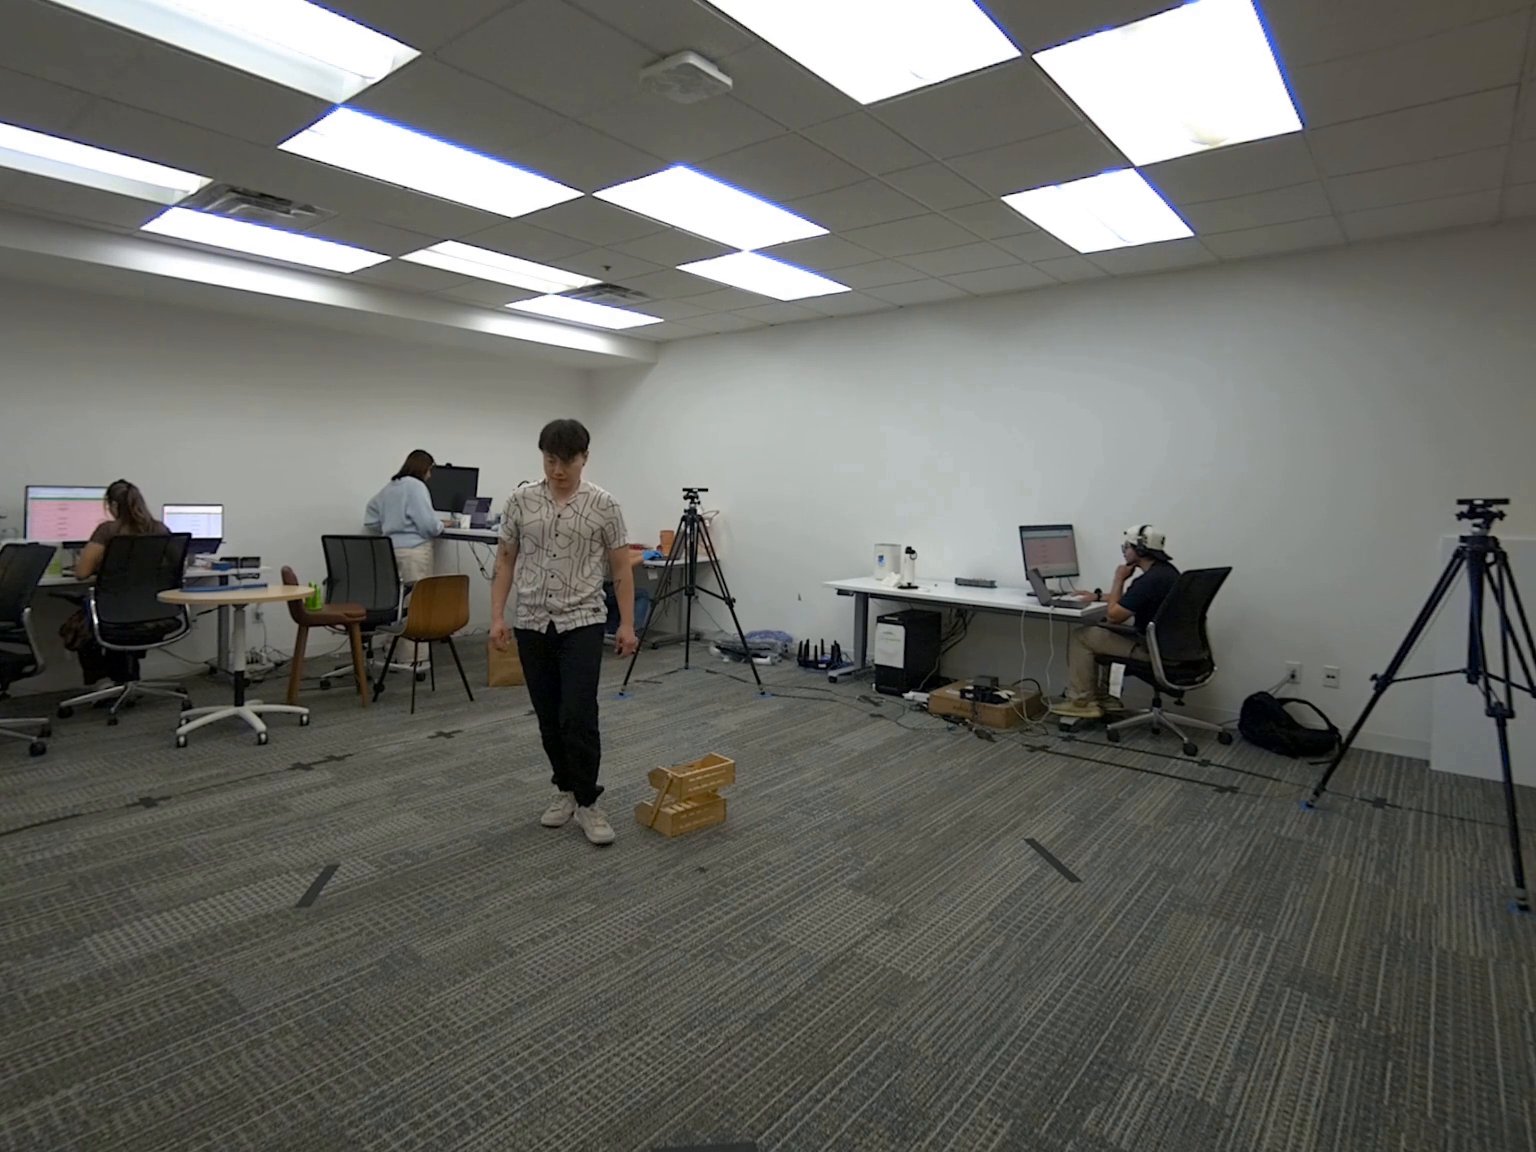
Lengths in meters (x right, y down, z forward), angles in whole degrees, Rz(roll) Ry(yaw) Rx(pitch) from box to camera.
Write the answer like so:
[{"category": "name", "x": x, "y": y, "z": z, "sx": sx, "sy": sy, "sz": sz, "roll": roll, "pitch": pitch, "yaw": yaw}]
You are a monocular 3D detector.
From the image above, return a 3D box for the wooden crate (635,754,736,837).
[{"category": "wooden crate", "x": -0.361, "y": 0.890, "z": 3.561, "sx": 0.315, "sy": 0.272, "sz": 0.312, "roll": -3, "pitch": 7, "yaw": -43}]
